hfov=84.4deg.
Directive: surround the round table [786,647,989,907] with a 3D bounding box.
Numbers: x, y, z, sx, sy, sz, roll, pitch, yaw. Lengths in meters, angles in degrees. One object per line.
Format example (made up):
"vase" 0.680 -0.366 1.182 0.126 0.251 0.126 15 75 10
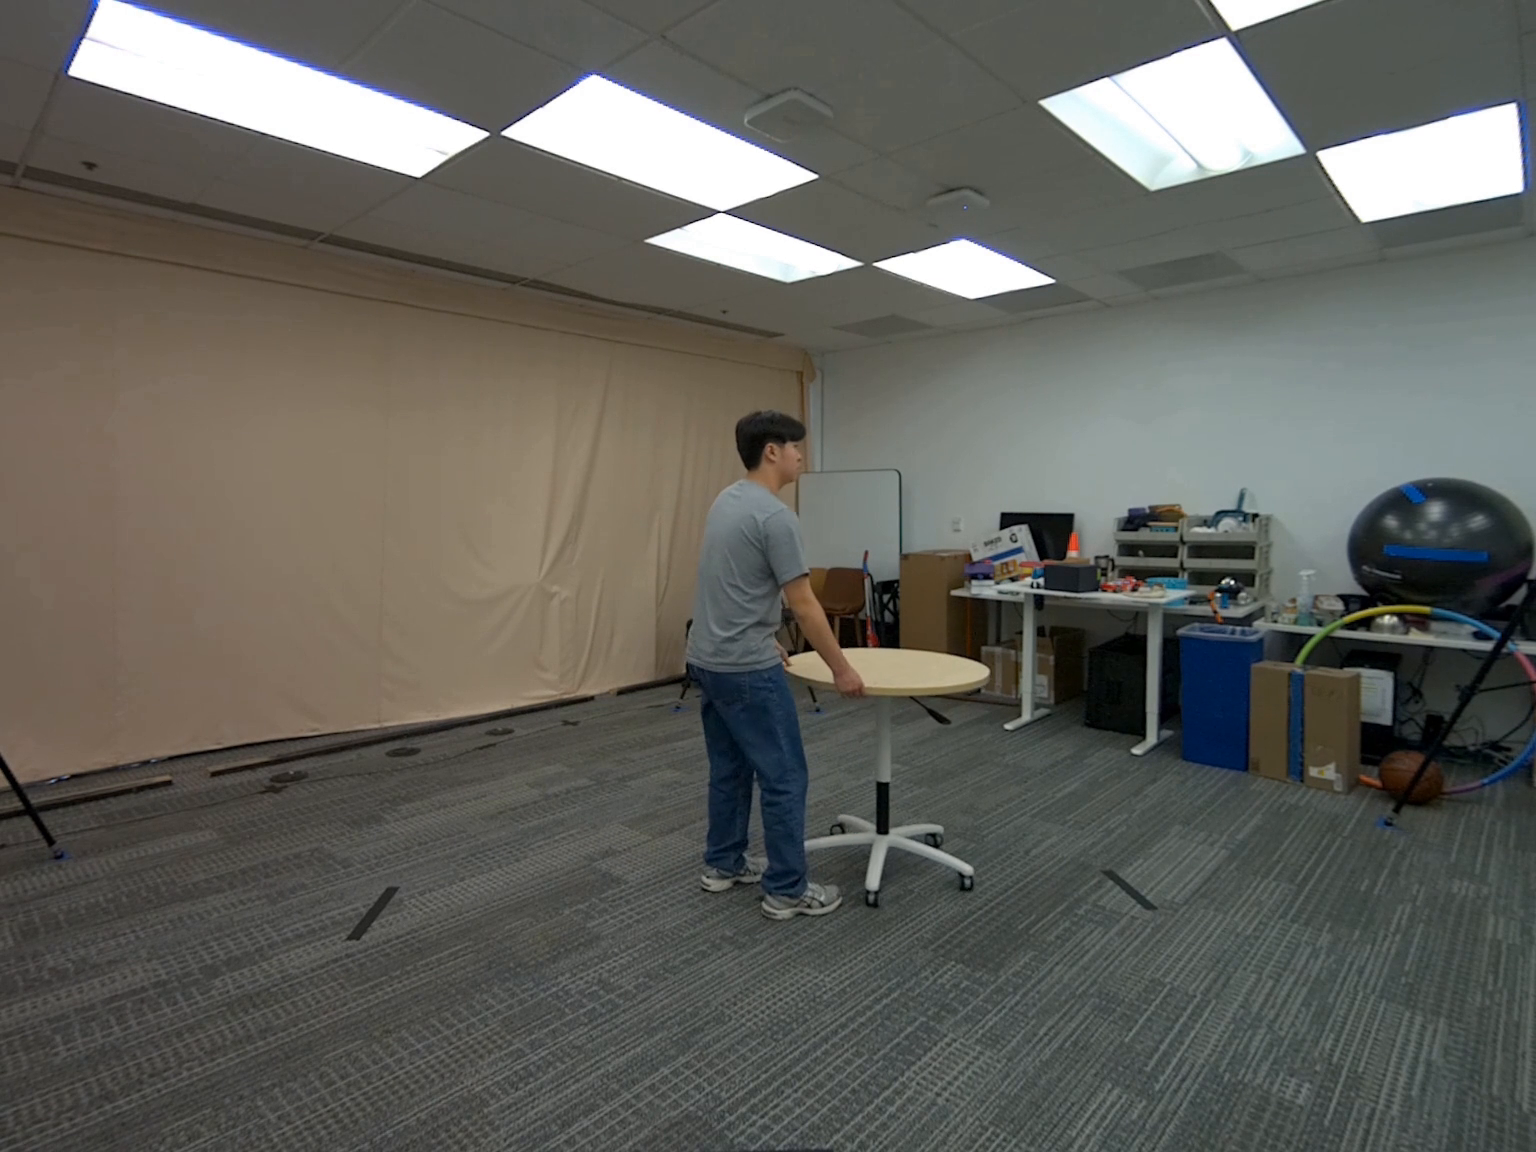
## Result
"round table" 0.442 0.734 3.201 0.763 0.792 0.766 0 3 -2
